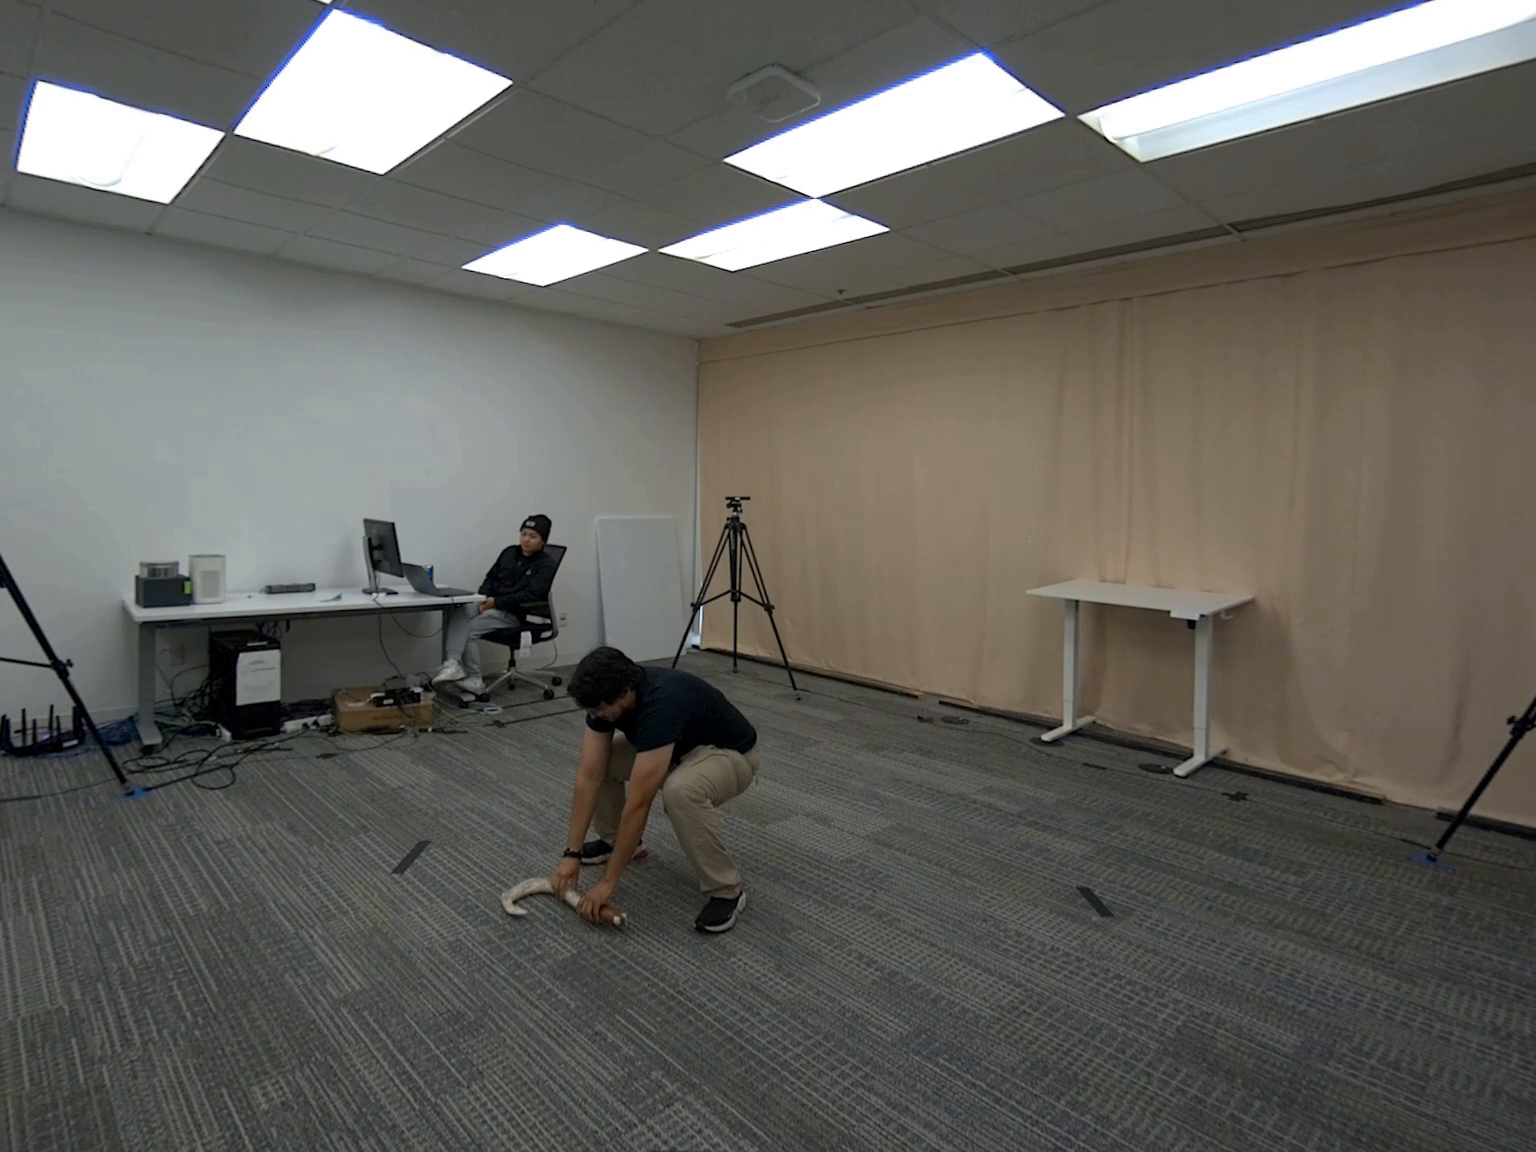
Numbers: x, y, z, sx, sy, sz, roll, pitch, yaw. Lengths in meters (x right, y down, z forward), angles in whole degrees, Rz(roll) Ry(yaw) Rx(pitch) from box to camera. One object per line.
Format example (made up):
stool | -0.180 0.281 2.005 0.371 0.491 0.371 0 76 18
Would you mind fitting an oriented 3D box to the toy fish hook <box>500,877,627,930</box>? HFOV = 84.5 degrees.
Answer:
toy fish hook | -0.689 1.095 2.768 0.518 0.048 0.220 -1 8 38
